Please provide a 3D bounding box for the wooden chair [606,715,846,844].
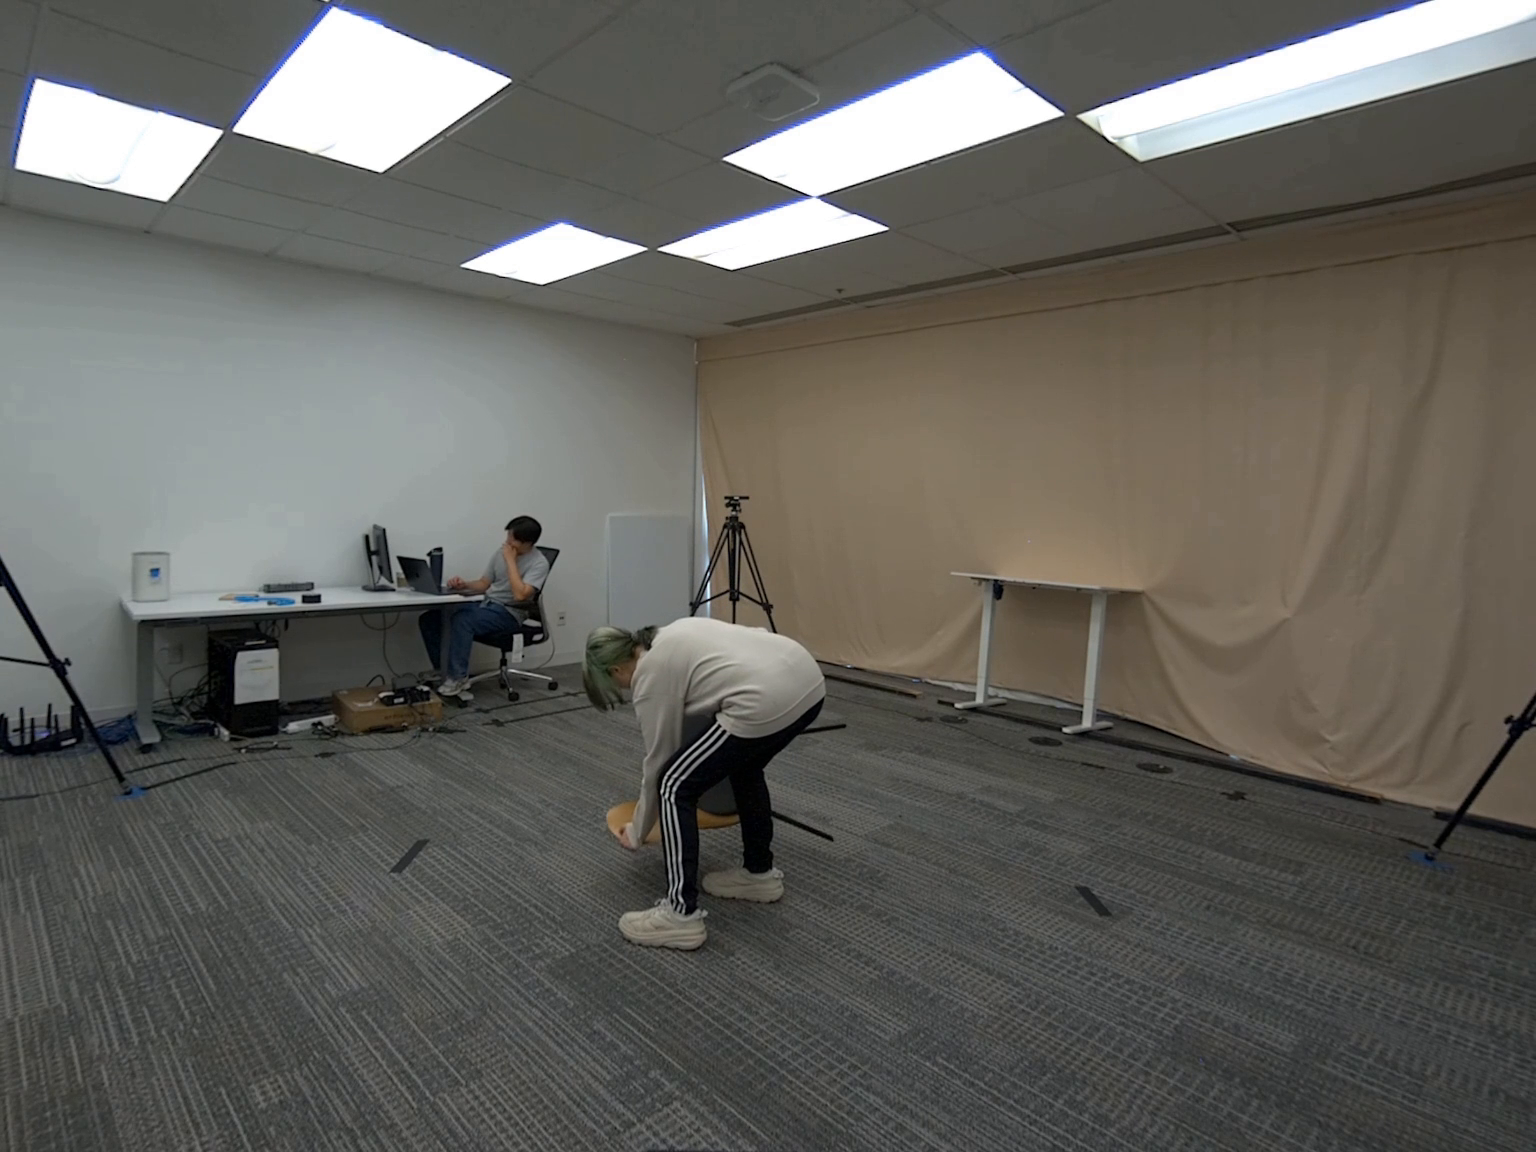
[{"bbox_3d":[-0.172,0.734,3.247,0.854,0.525,0.489,9,-8,-43],"label":"wooden chair"}]
